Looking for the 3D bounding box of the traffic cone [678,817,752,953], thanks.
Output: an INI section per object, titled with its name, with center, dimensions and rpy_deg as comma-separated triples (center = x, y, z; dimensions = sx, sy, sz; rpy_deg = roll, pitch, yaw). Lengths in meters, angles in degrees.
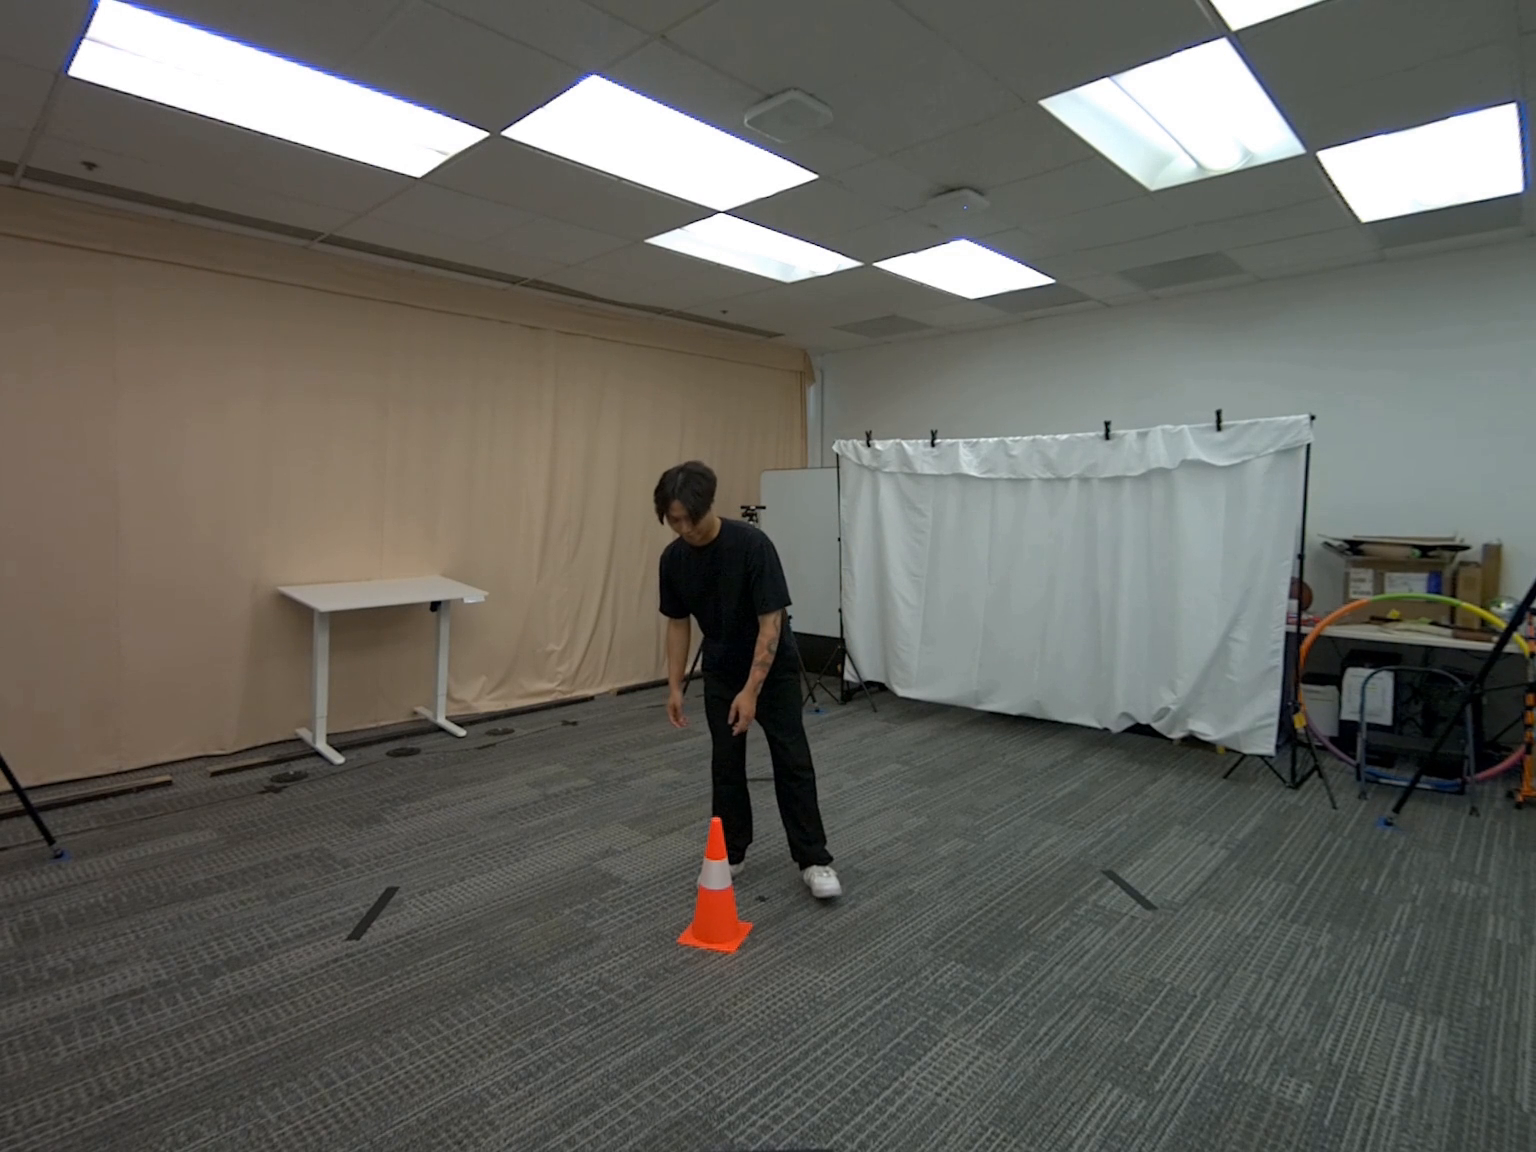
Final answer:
[traffic cone]
center = -0.172, 0.974, 2.742
dimensions = 0.209, 0.383, 0.199
rpy_deg = 0, 2, 21
